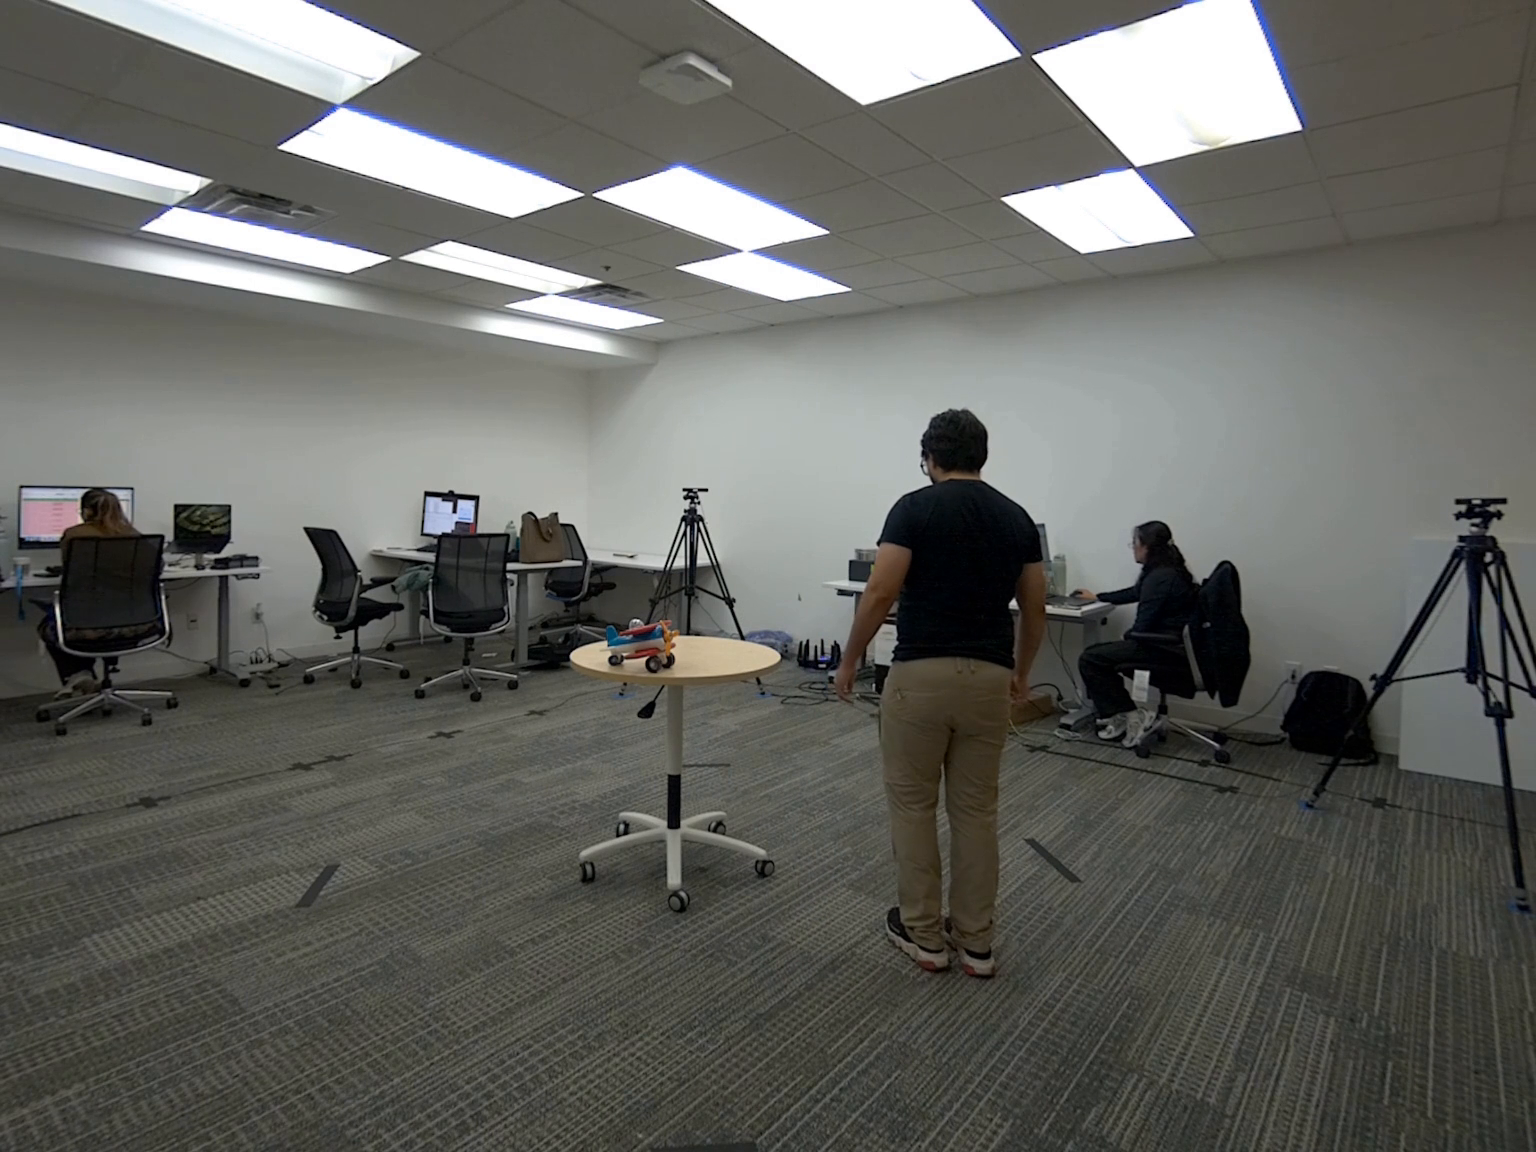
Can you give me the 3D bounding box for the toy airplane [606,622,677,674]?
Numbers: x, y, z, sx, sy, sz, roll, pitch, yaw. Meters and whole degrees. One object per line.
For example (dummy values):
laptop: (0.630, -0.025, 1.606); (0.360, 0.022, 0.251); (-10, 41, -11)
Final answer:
toy airplane: (-0.448, 0.233, 2.848); (0.258, 0.156, 0.253); (2, 4, -4)
